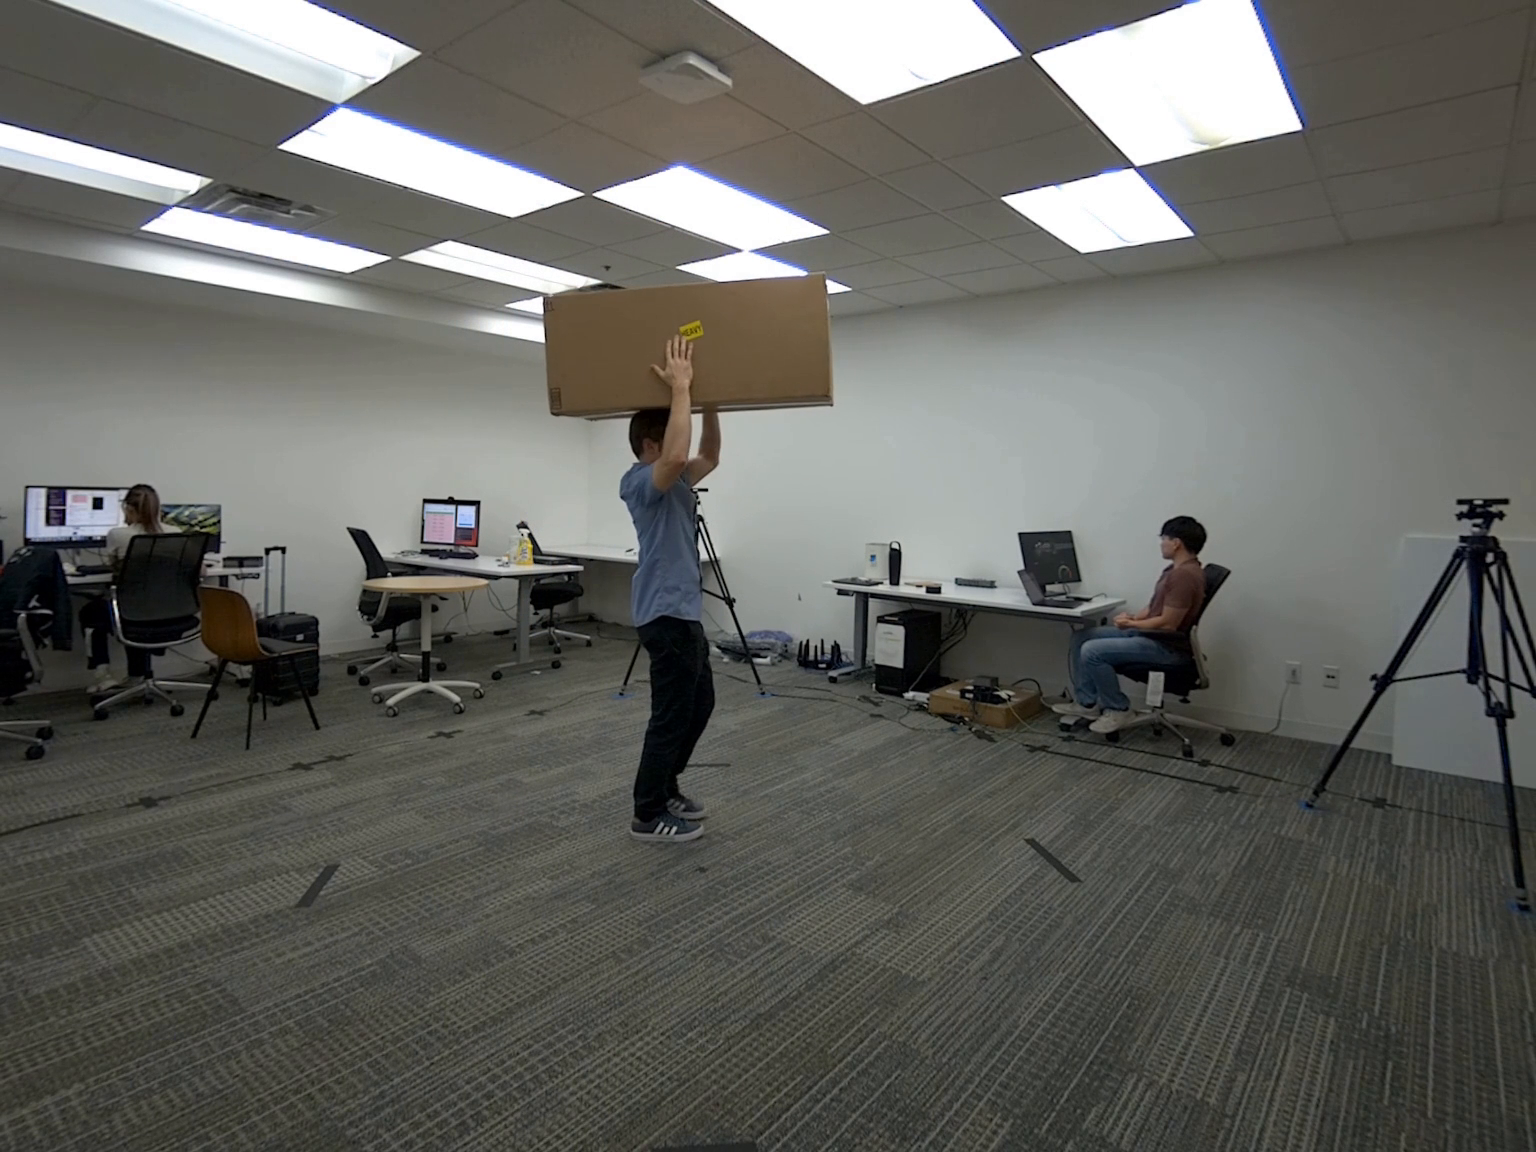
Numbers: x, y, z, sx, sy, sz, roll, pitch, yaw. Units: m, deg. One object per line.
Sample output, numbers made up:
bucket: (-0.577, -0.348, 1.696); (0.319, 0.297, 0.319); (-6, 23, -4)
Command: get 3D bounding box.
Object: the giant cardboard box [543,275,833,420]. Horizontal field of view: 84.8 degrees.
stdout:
giant cardboard box: (-0.285, -0.857, 3.276); (1.036, 0.424, 0.575); (-2, 7, 9)
